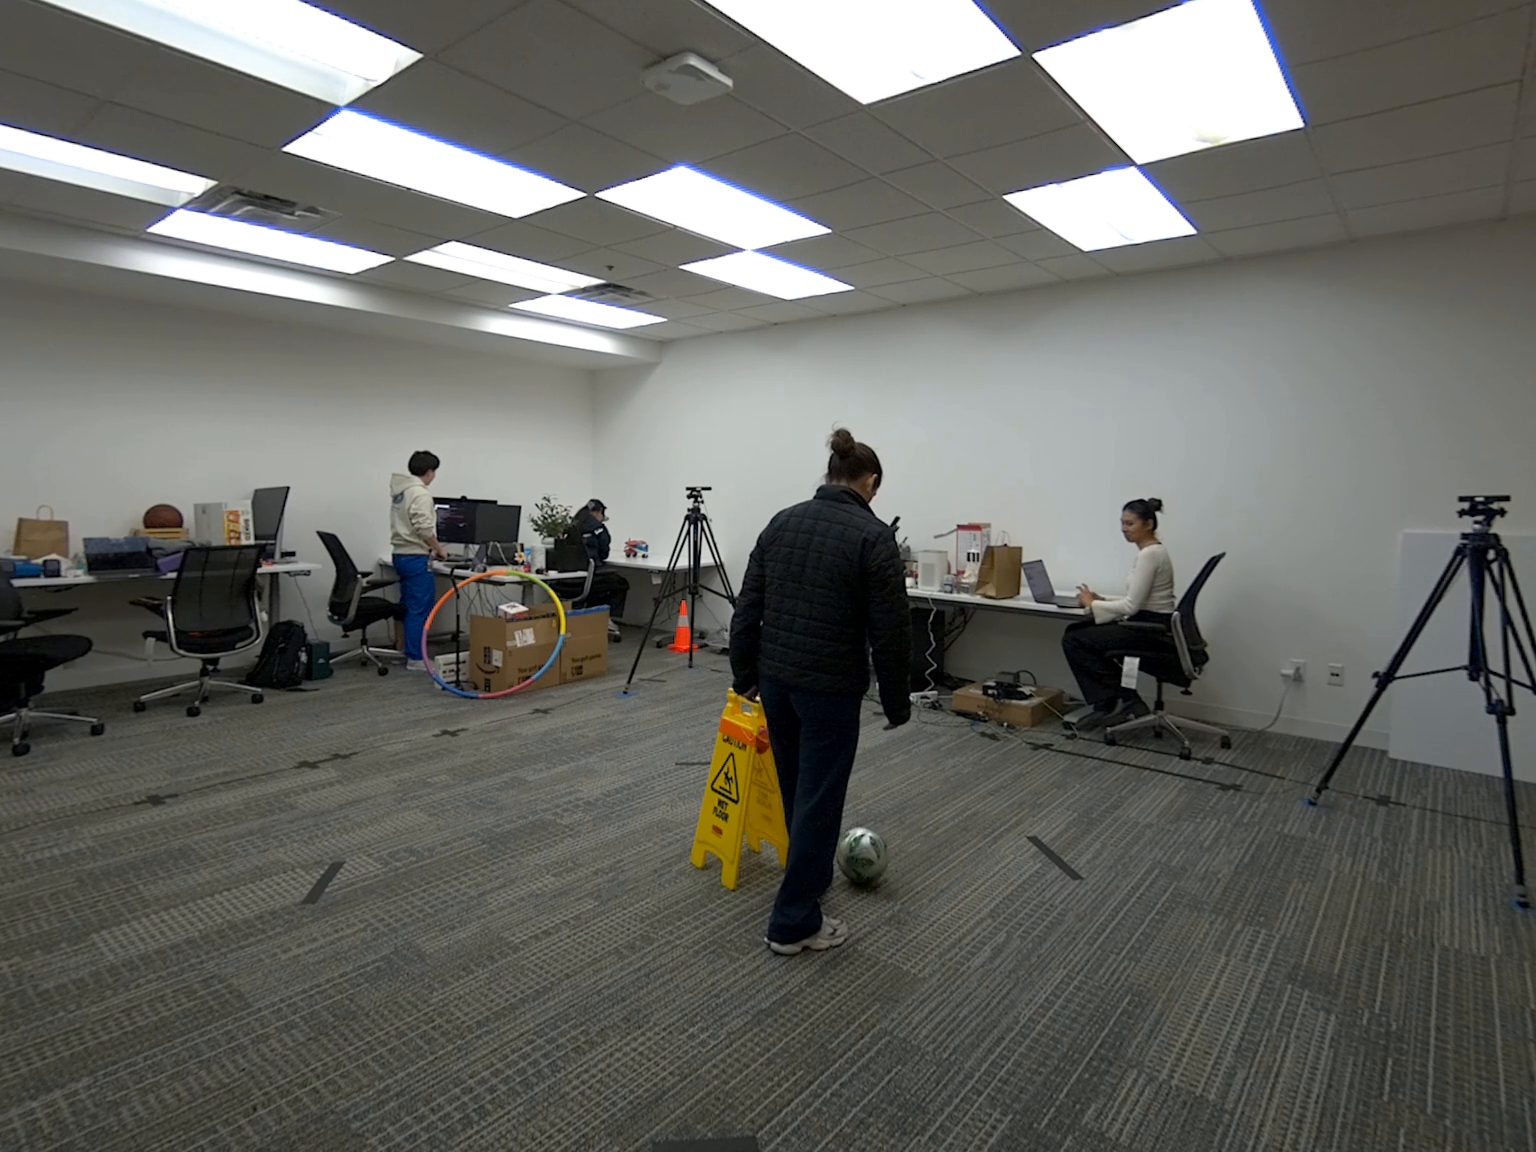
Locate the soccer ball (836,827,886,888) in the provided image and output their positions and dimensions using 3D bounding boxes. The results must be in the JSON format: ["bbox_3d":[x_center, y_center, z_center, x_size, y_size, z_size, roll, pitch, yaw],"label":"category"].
[{"bbox_3d":[0.327,0.996,3.018,0.187,0.187,0.188,1,4,-2],"label":"soccer ball"}]
